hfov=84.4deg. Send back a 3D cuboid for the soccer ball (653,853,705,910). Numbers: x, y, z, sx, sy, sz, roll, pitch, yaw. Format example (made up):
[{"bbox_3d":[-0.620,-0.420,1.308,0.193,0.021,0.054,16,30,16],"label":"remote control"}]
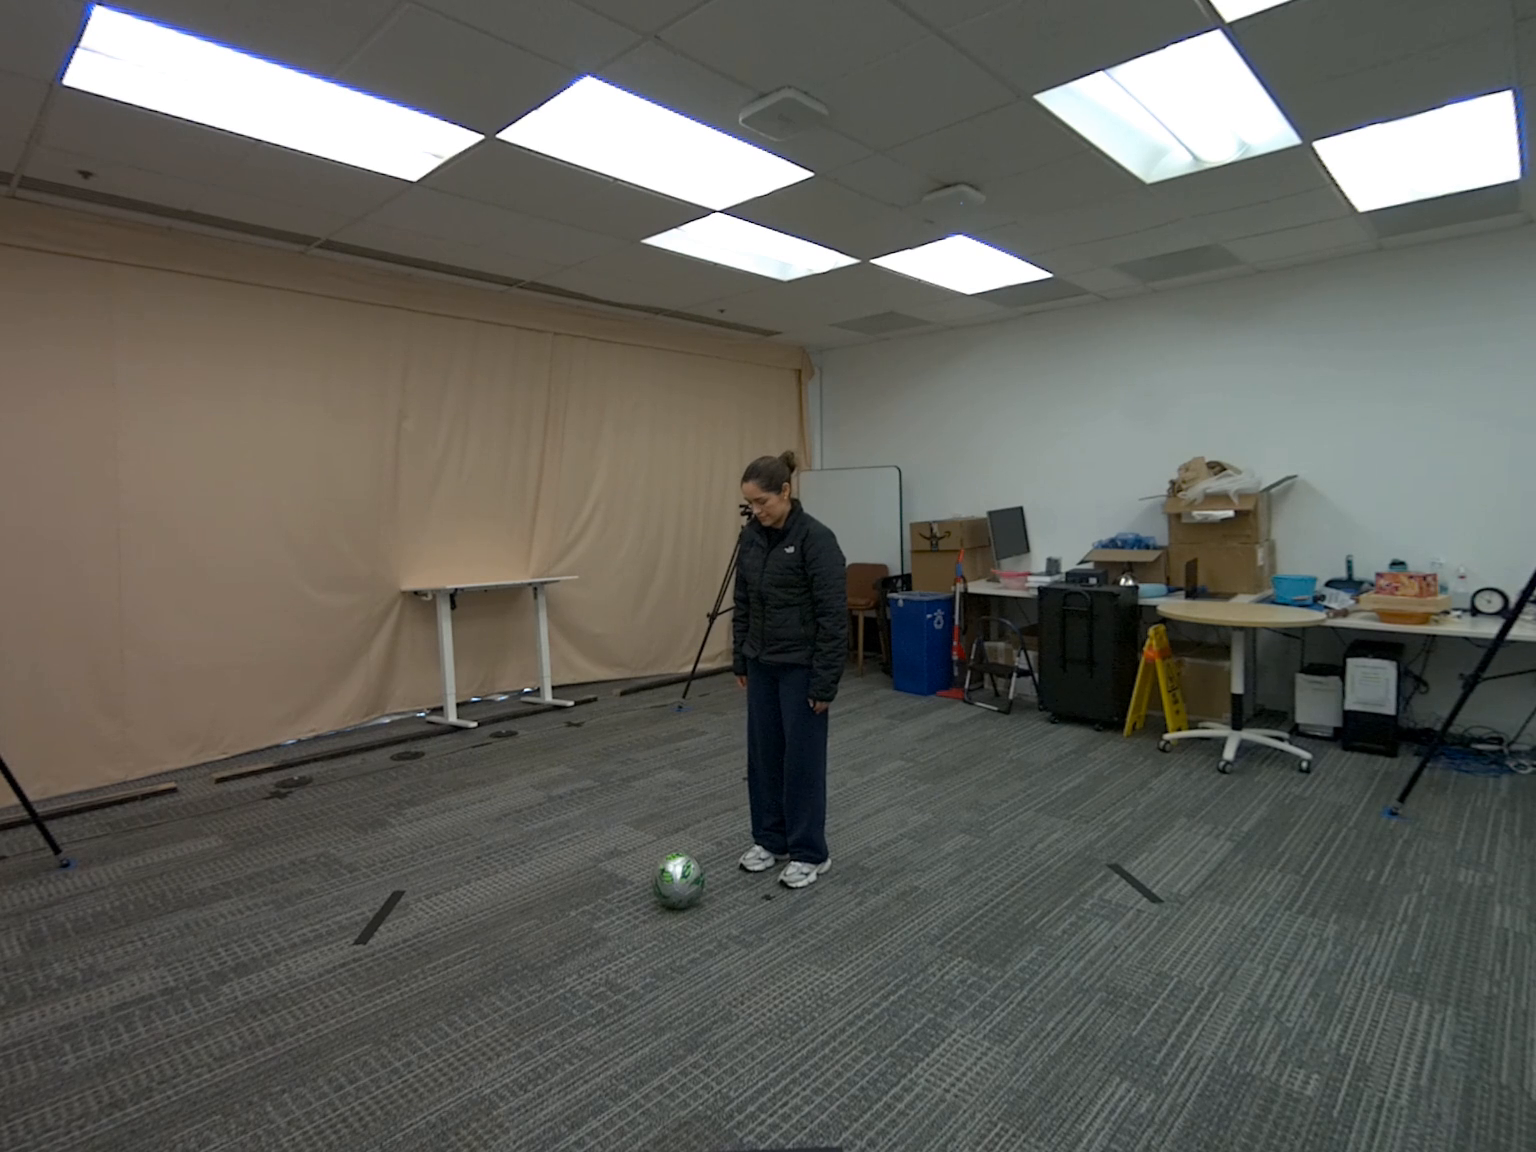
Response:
[{"bbox_3d":[-0.312,1.057,2.932,0.187,0.187,0.188,-1,4,-2],"label":"soccer ball"}]
